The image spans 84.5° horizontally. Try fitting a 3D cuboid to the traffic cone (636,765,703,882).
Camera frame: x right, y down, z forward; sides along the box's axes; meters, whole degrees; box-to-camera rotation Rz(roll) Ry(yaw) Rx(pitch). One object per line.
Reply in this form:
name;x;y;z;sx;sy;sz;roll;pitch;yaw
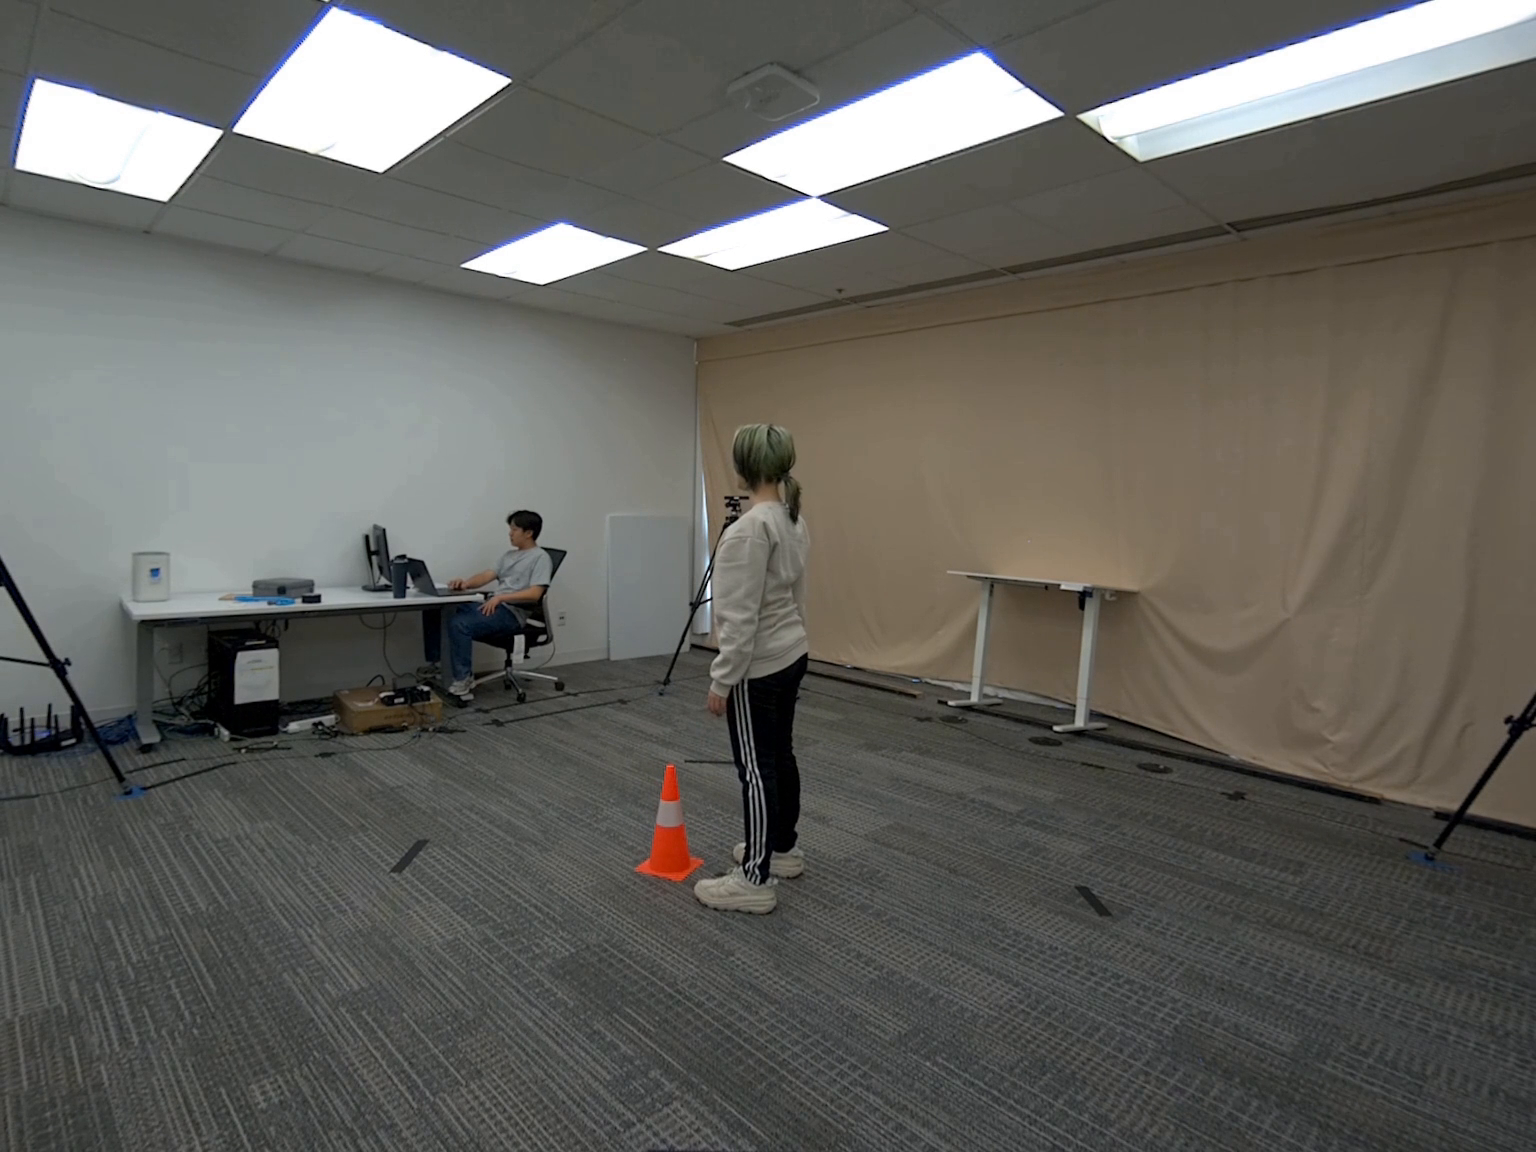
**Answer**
traffic cone;-0.368;0.904;3.169;0.207;0.383;0.201;3;3;24
